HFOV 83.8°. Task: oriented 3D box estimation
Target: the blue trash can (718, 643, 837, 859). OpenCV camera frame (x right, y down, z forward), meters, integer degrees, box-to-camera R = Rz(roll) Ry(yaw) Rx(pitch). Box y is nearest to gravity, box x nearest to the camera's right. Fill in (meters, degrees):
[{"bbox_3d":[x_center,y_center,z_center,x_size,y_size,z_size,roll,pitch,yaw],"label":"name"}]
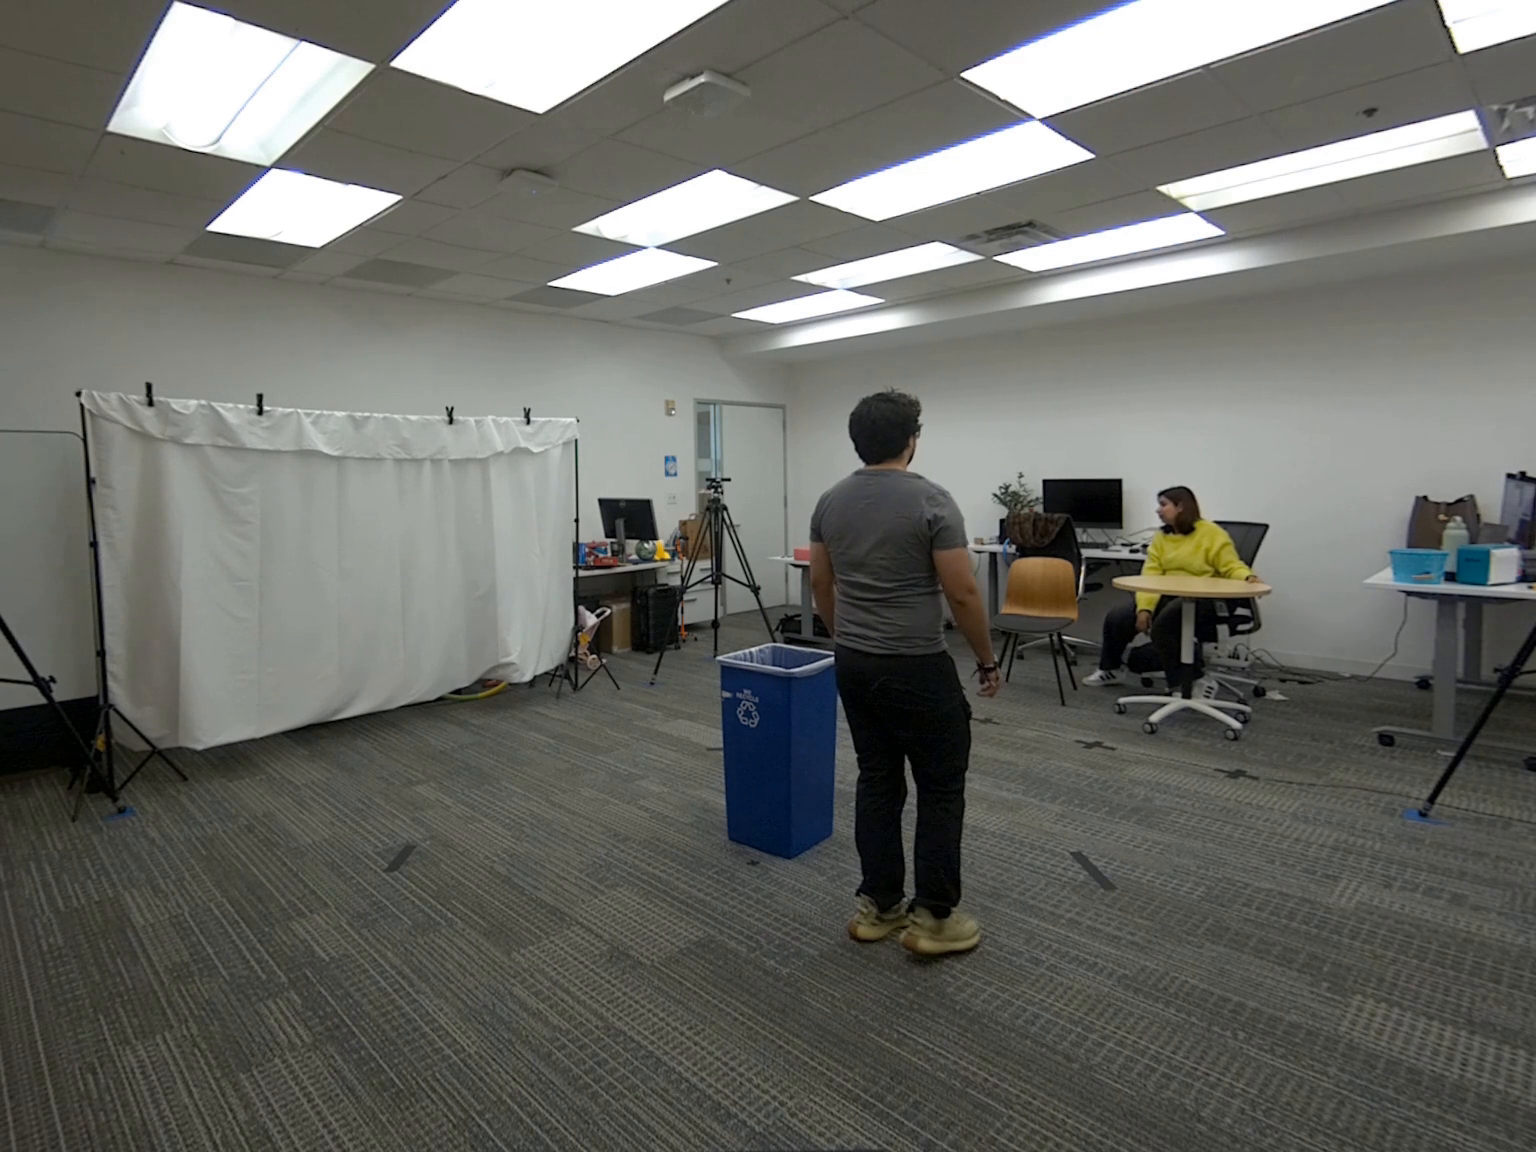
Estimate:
[{"bbox_3d":[0.055,0.660,3.305,0.385,0.711,0.368,2,5,38],"label":"blue trash can"}]
